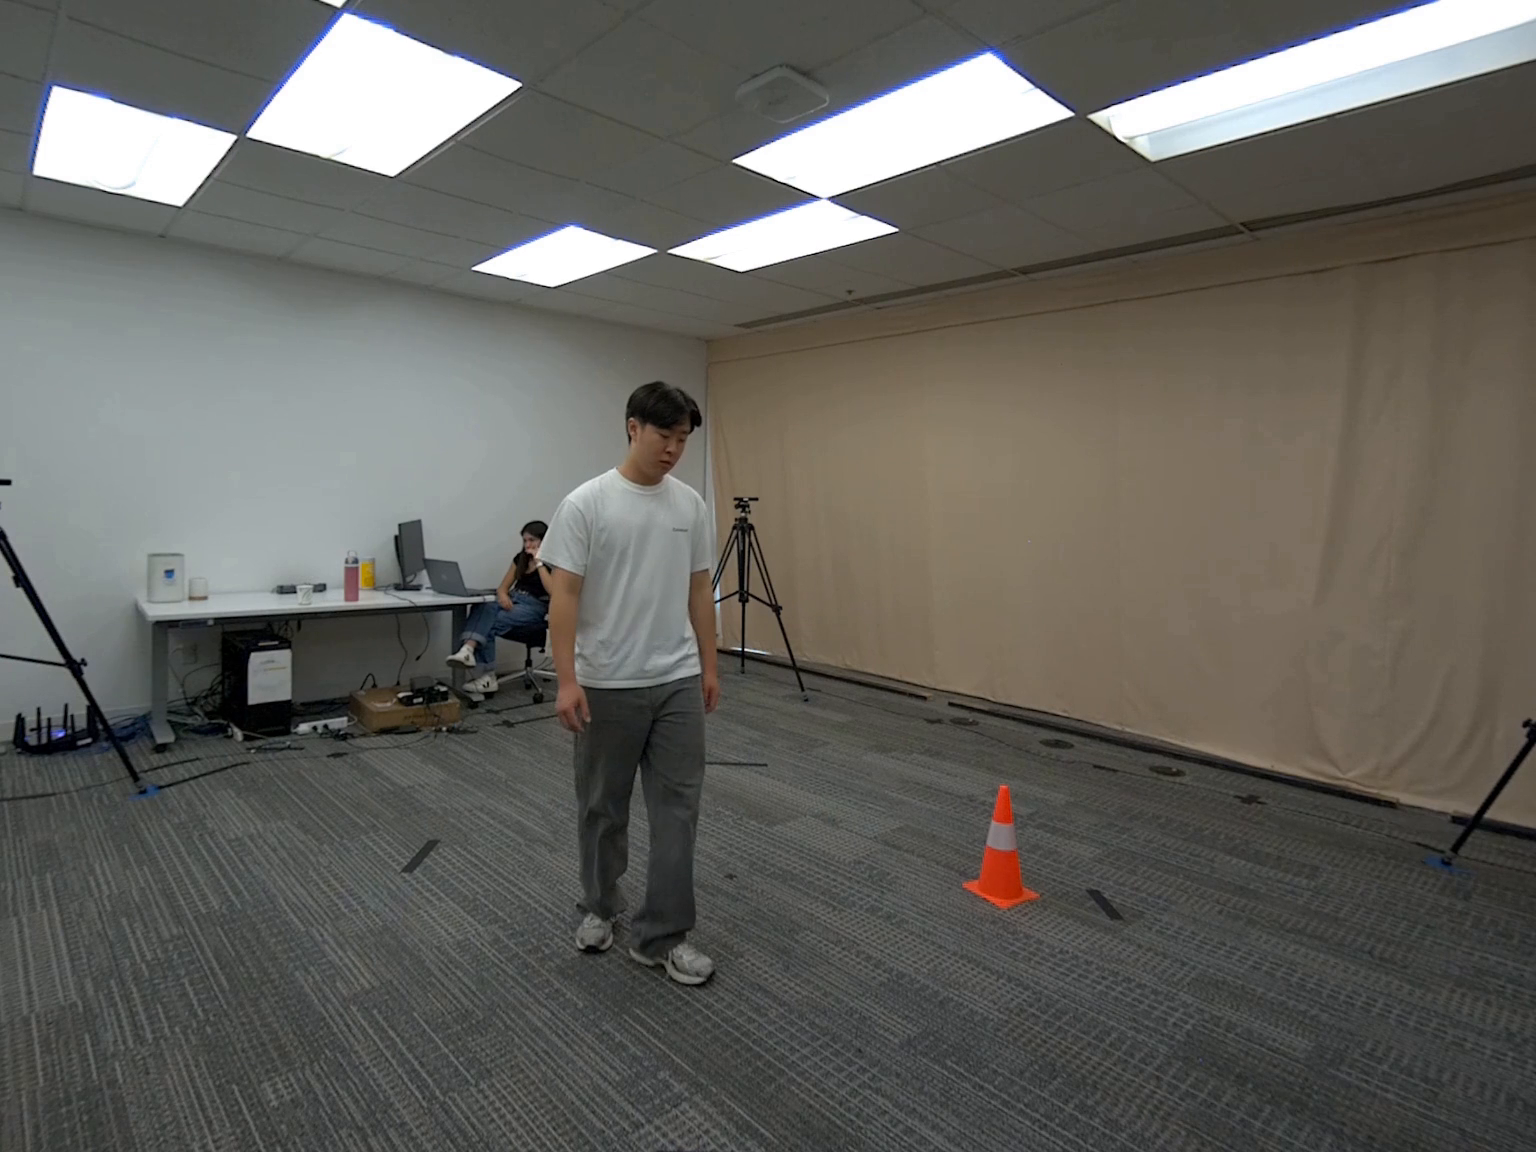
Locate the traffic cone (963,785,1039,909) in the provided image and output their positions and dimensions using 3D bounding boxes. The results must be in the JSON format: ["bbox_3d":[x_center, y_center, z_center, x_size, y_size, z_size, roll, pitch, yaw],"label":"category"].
[{"bbox_3d":[0.849,0.956,3.038,0.200,0.383,0.208,1,3,-35],"label":"traffic cone"}]
